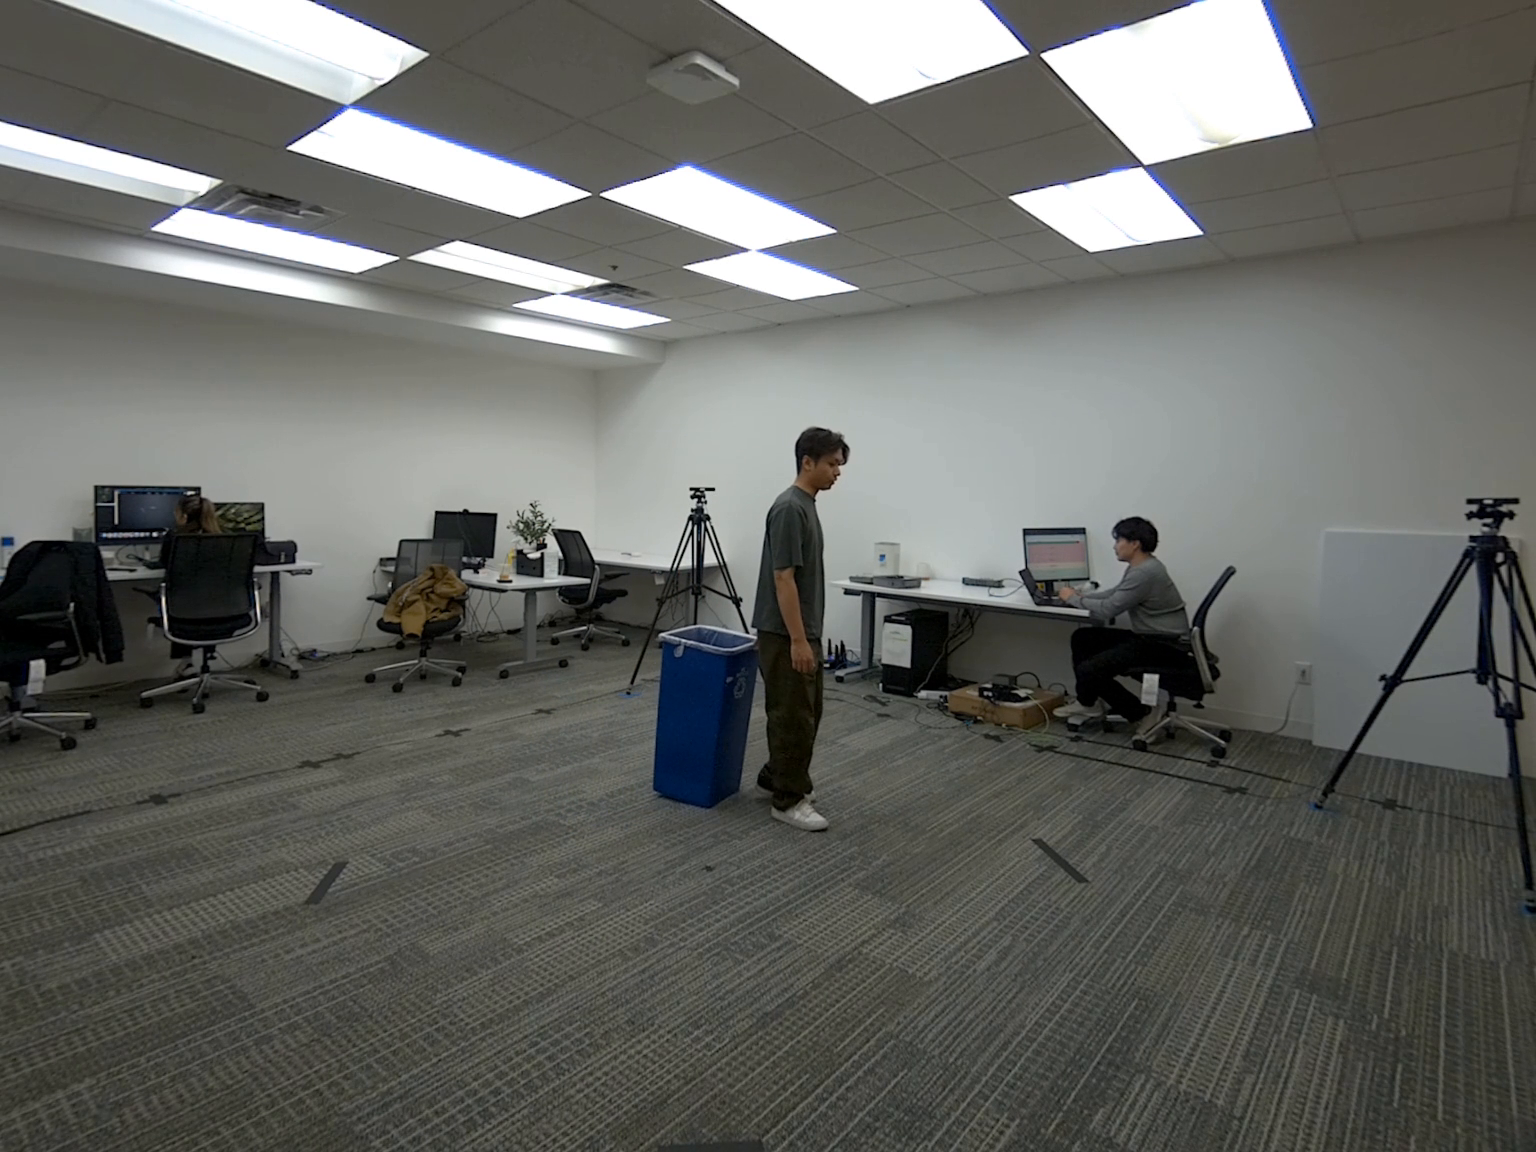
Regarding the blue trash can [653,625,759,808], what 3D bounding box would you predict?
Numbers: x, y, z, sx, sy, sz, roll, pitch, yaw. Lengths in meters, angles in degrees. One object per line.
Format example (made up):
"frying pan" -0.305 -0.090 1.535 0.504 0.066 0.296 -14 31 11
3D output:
"blue trash can" -0.297 0.621 3.866 0.389 0.710 0.365 9 7 26
